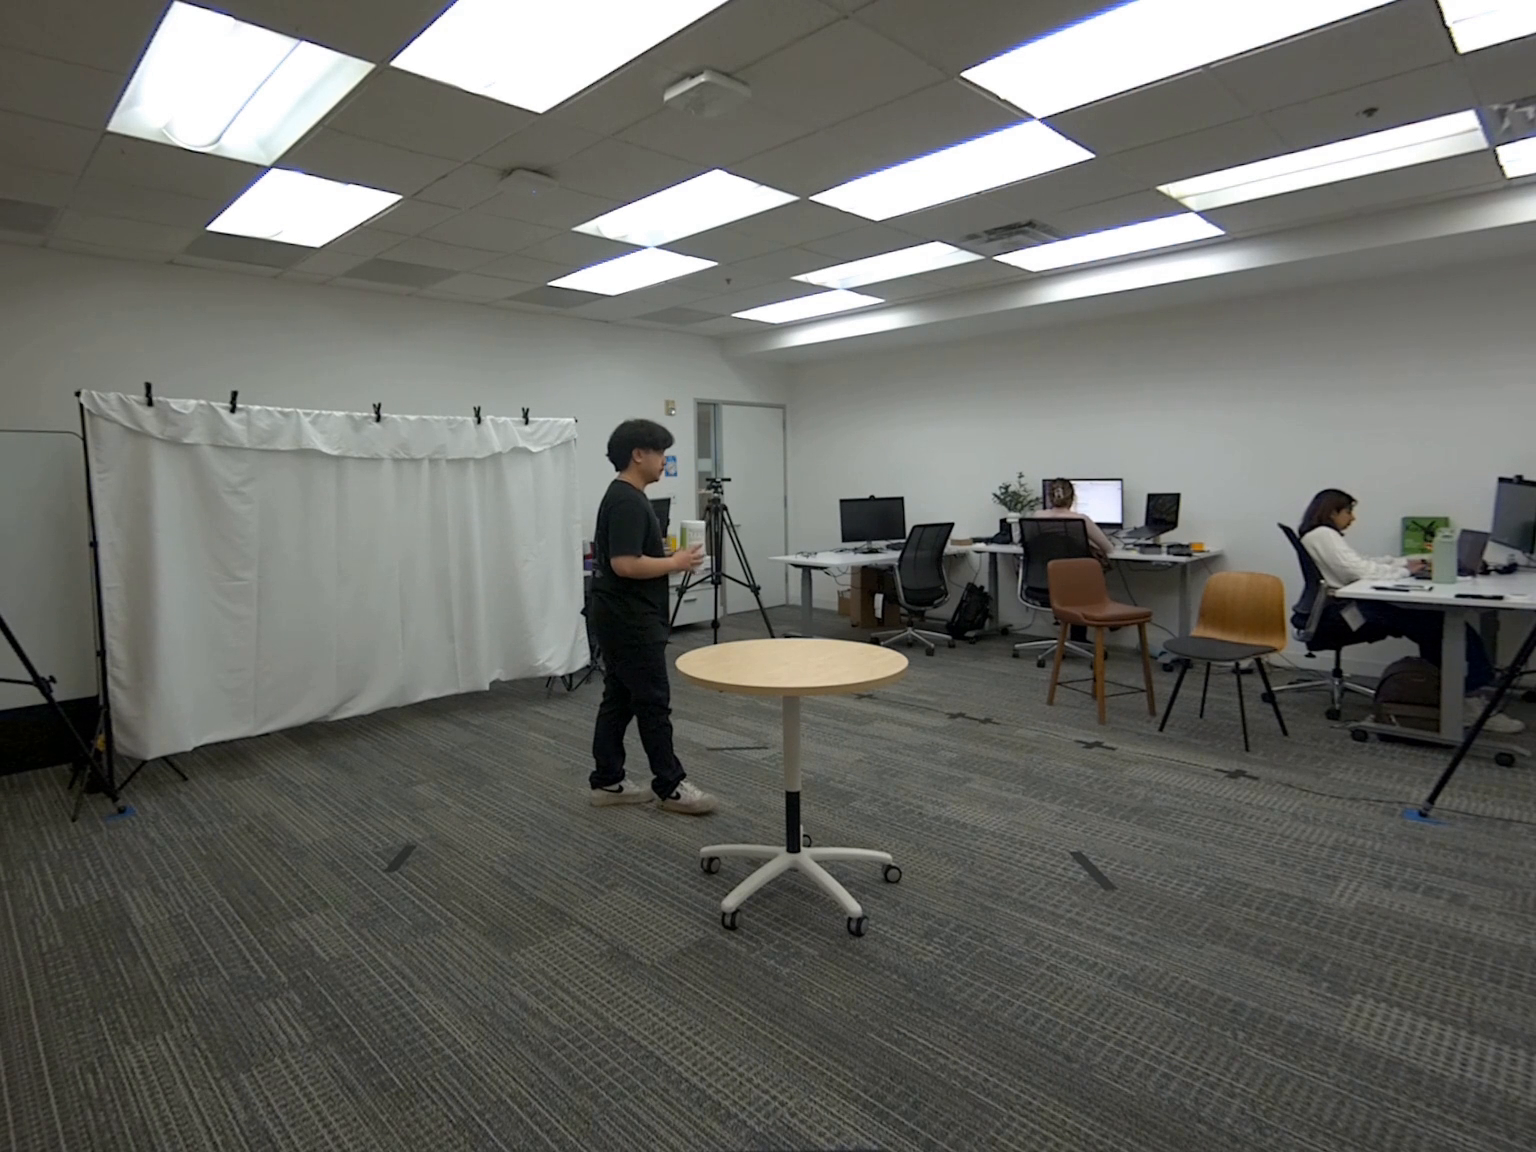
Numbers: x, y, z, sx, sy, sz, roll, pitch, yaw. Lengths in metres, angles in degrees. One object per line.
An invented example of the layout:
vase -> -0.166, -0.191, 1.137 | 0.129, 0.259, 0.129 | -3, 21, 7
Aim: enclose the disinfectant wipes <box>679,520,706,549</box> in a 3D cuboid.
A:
disinfectant wipes -> -0.329, -0.130, 3.698 | 0.118, 0.217, 0.118 | 1, 4, -2
